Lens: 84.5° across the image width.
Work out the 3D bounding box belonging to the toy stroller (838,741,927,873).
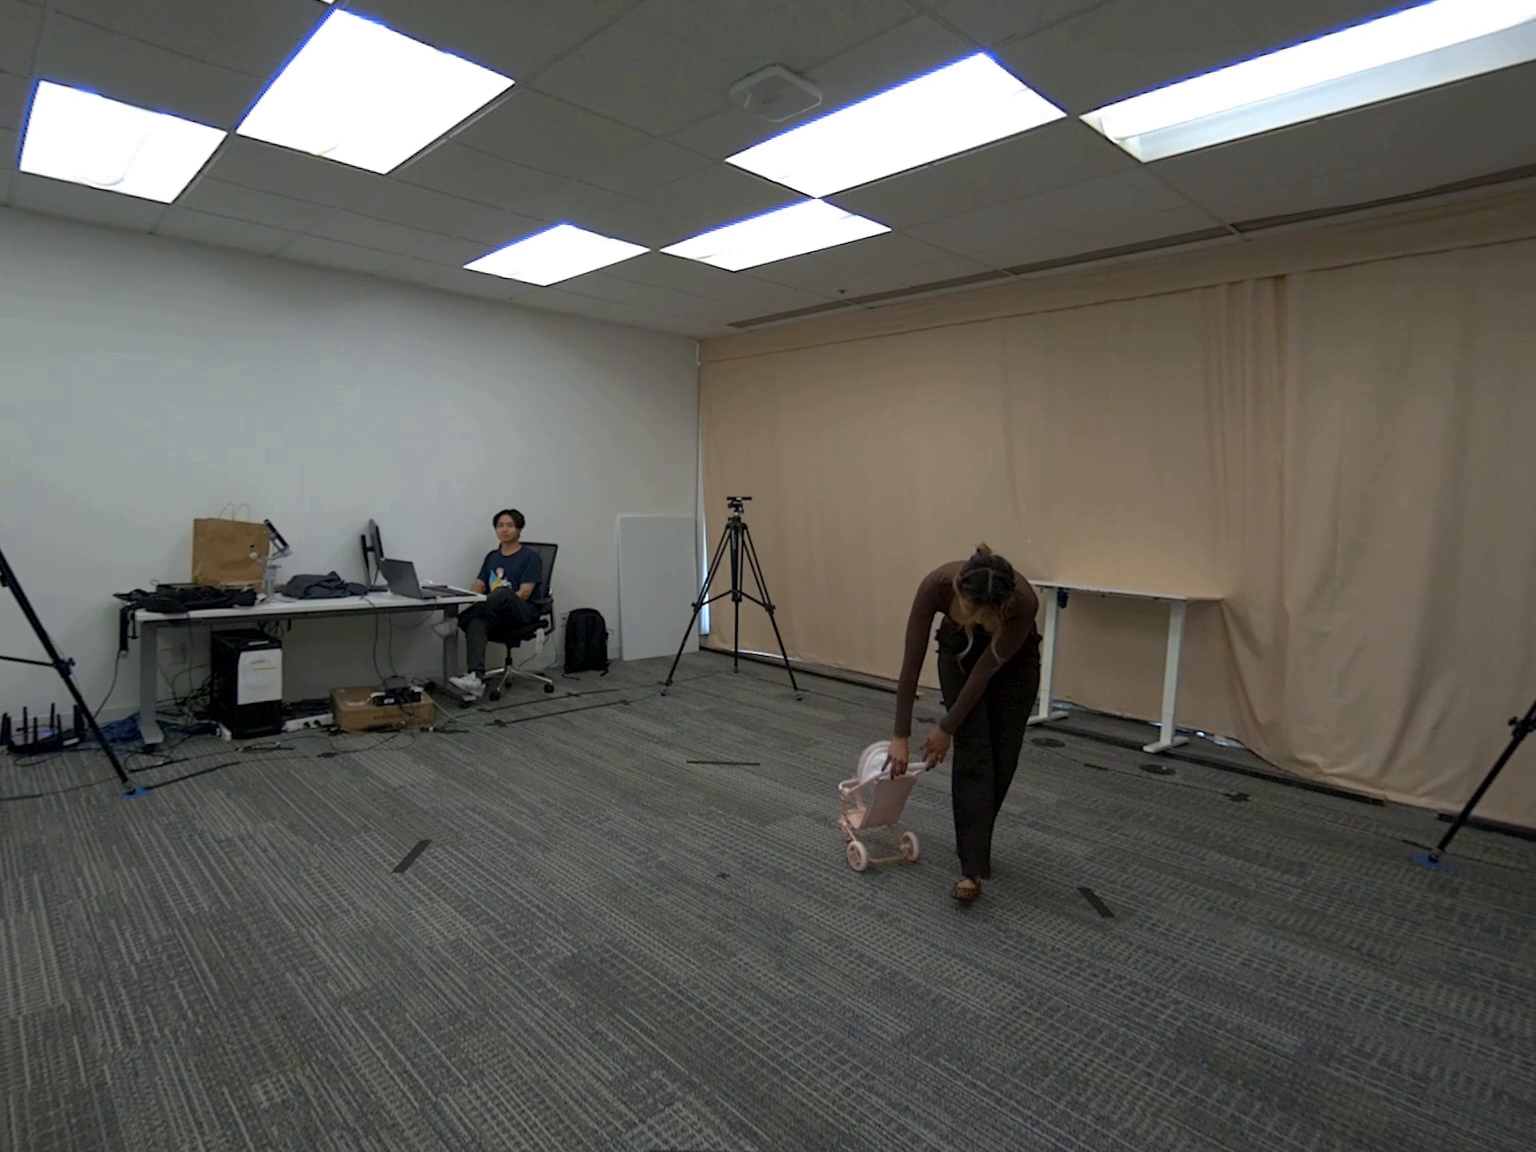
[{"bbox_3d":[0.419,0.871,3.271,0.277,0.529,0.351,1,20,-22],"label":"toy stroller"}]
